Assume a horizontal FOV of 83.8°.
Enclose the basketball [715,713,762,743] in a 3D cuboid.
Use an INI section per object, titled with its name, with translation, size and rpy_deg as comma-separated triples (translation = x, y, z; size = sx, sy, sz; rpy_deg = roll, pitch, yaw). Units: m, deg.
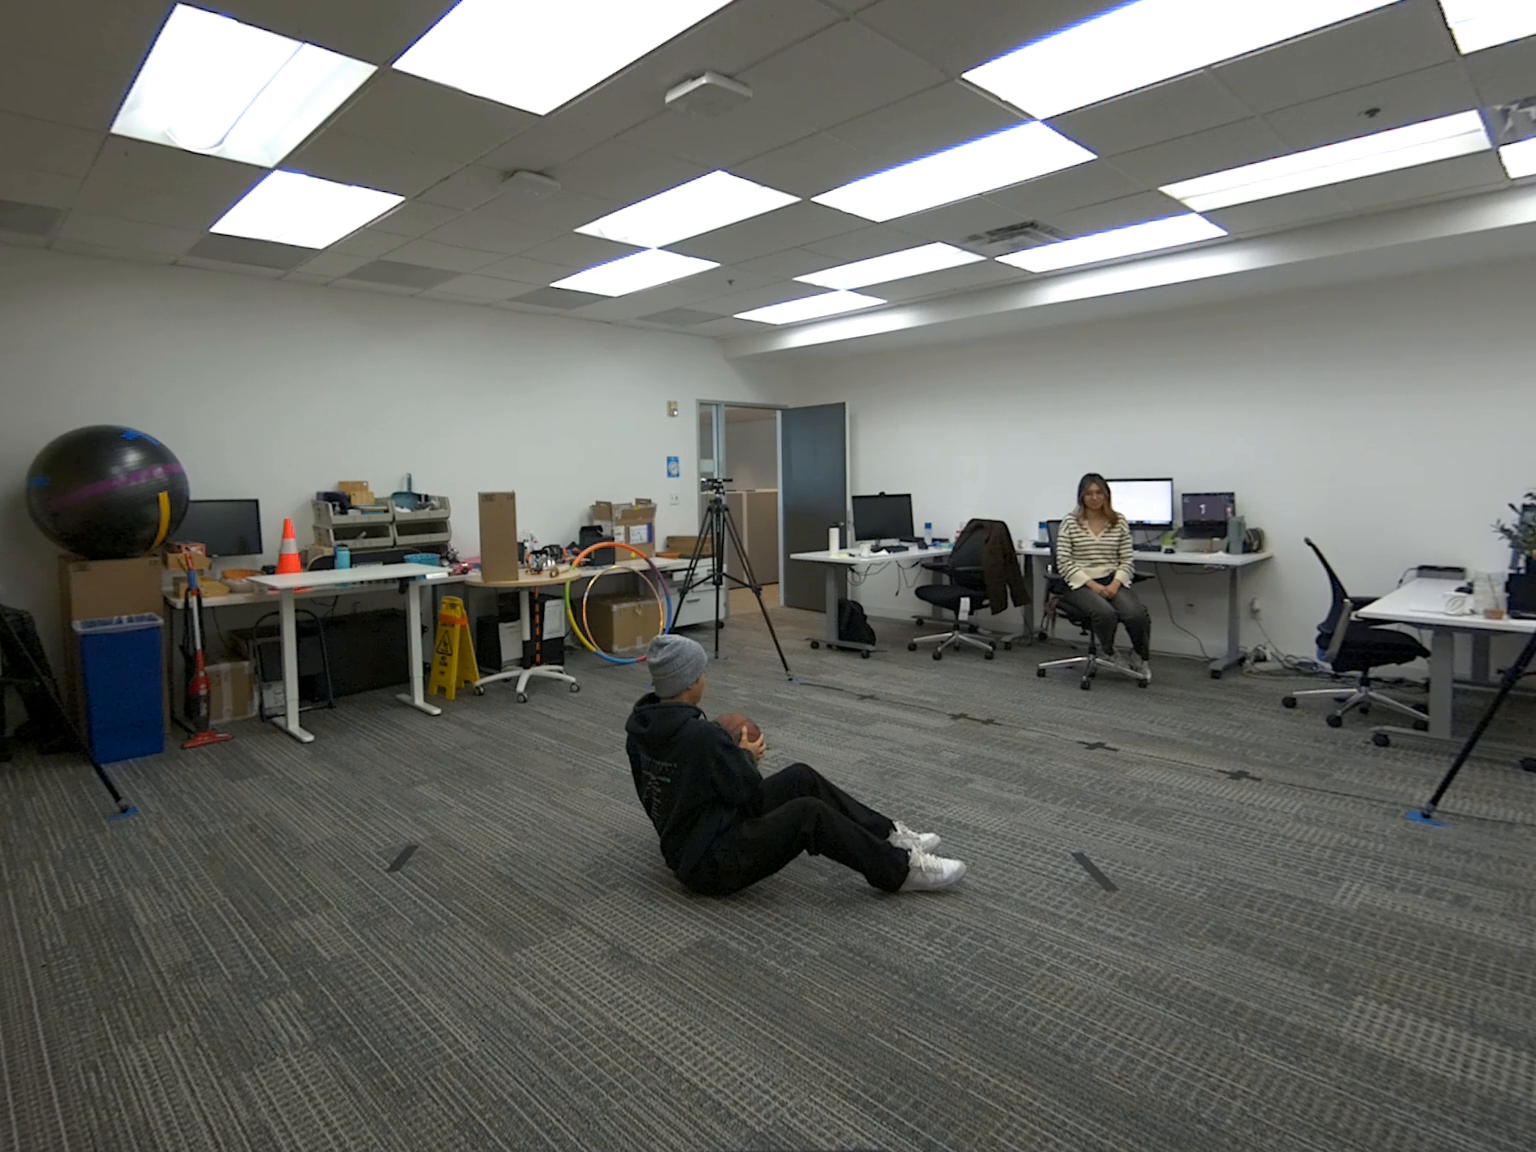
[basketball]
translation = -0.126, 0.654, 3.342
size = 0.236, 0.235, 0.237
rpy_deg = -1, 5, -2
